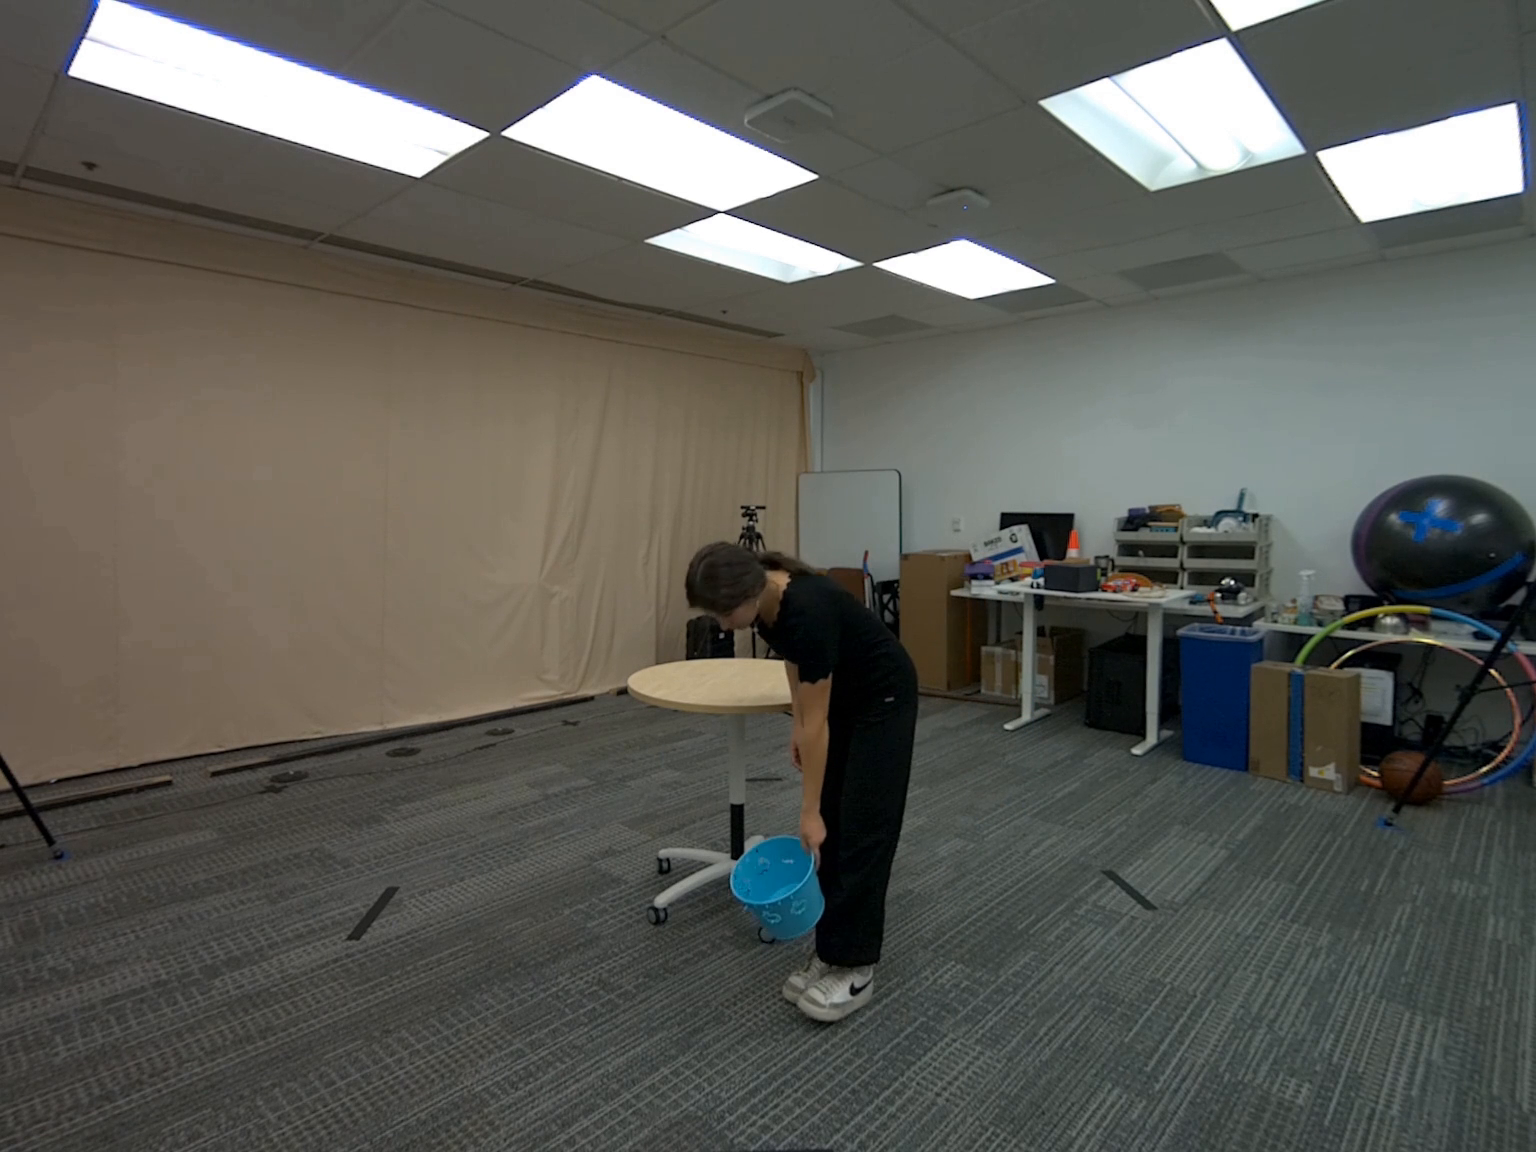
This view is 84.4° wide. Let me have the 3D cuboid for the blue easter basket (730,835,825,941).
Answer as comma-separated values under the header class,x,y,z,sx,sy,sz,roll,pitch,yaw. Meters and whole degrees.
class,x,y,z,sx,sy,sz,roll,pitch,yaw
blue easter basket,0.047,0.825,2.208,0.244,0.153,0.246,-21,17,4
